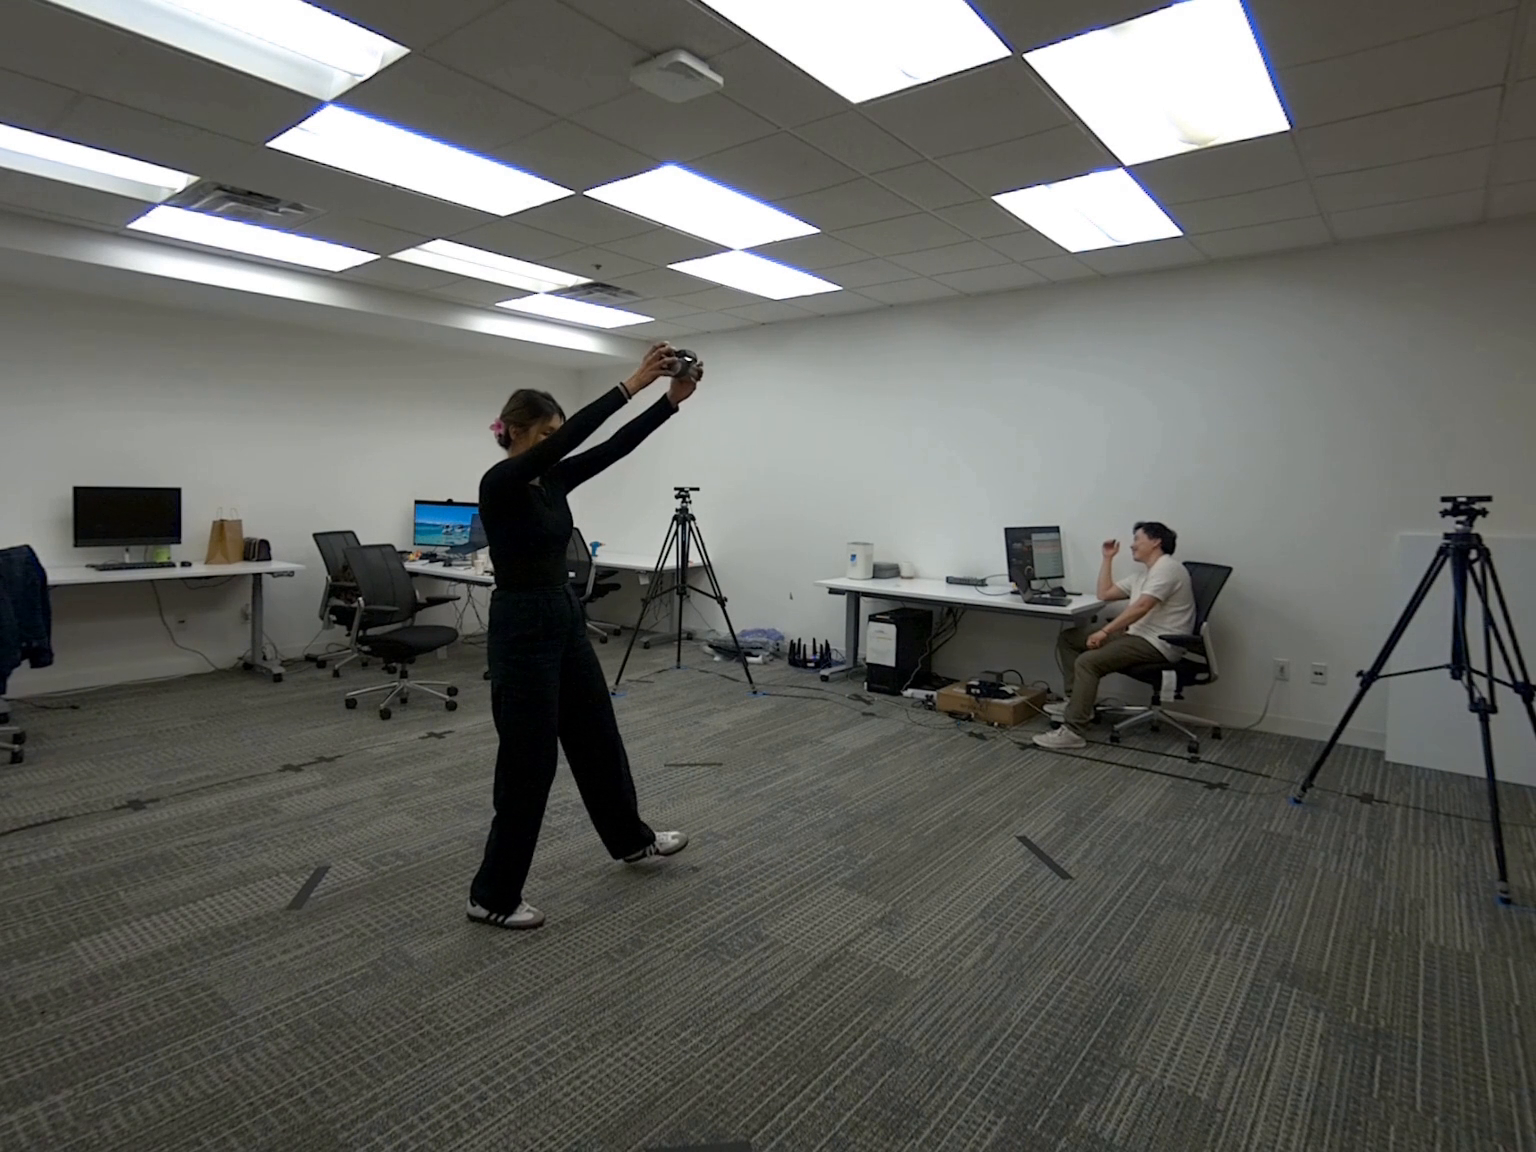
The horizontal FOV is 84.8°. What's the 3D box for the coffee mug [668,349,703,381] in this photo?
[{"bbox_3d":[-0.274,-0.628,2.582,0.125,0.088,0.197,13,0,21],"label":"coffee mug"}]
